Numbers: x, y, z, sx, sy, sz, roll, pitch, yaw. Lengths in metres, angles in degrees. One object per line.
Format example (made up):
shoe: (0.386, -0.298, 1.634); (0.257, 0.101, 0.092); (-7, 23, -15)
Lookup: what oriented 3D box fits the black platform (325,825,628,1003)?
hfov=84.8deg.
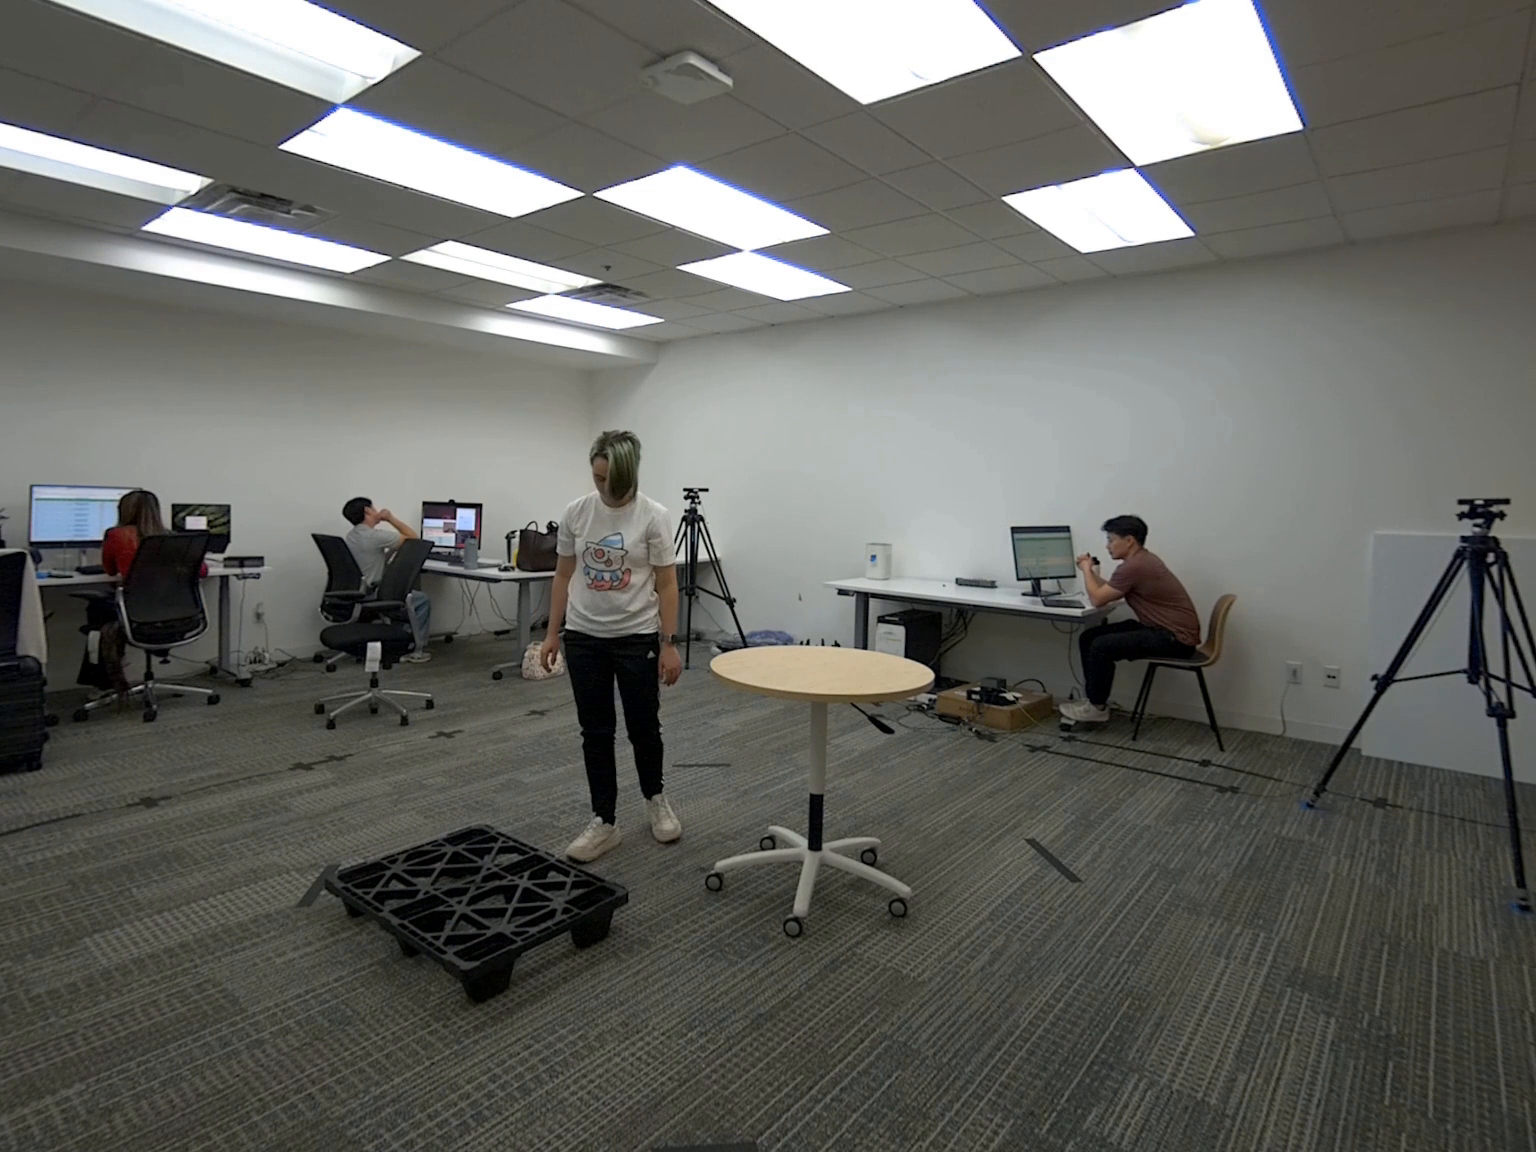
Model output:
black platform: (-0.933, 1.035, 2.681); (0.832, 0.143, 0.588); (5, 8, 39)
